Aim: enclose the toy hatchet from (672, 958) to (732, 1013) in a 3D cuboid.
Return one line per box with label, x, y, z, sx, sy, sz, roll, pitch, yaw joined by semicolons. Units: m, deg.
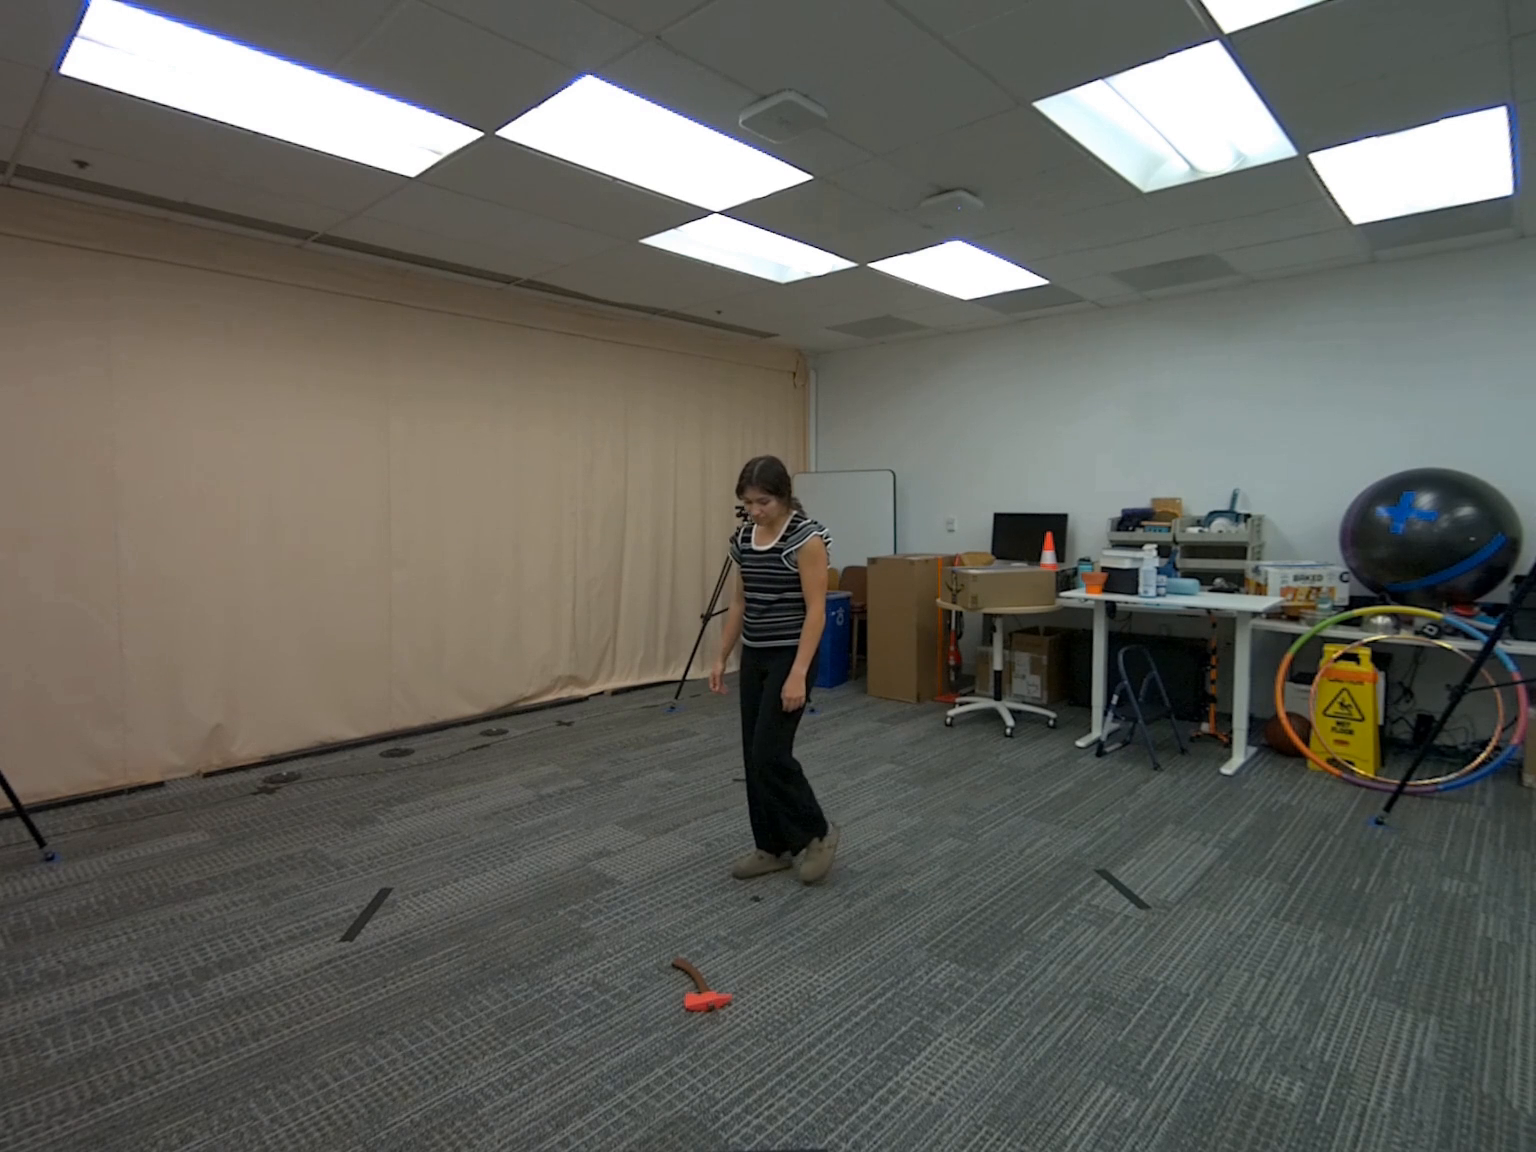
toy hatchet;-0.223;1.177;2.427;0.127;0.029;0.278;-7;5;-37
